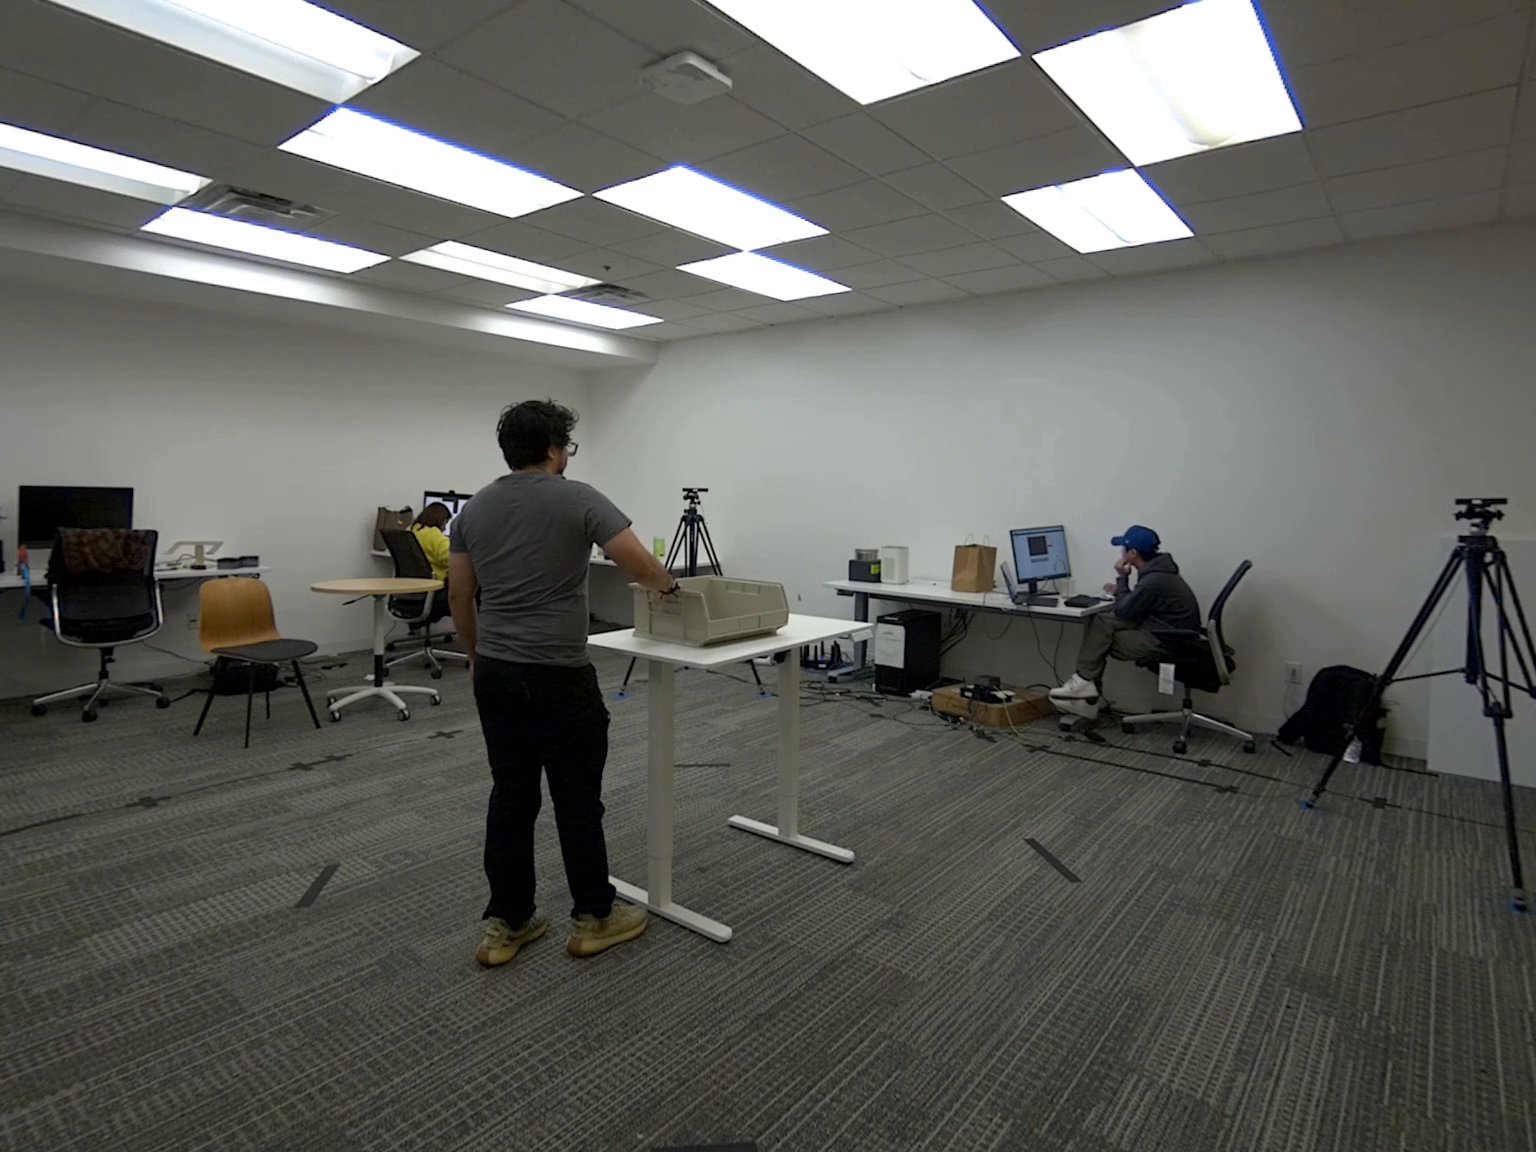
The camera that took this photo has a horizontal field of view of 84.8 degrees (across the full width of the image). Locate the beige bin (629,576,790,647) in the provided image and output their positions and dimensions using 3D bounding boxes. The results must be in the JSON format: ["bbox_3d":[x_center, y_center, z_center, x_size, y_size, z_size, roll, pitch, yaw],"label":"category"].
[{"bbox_3d":[-0.208,0.113,2.948,0.390,0.188,0.410,3,6,40],"label":"beige bin"}]
